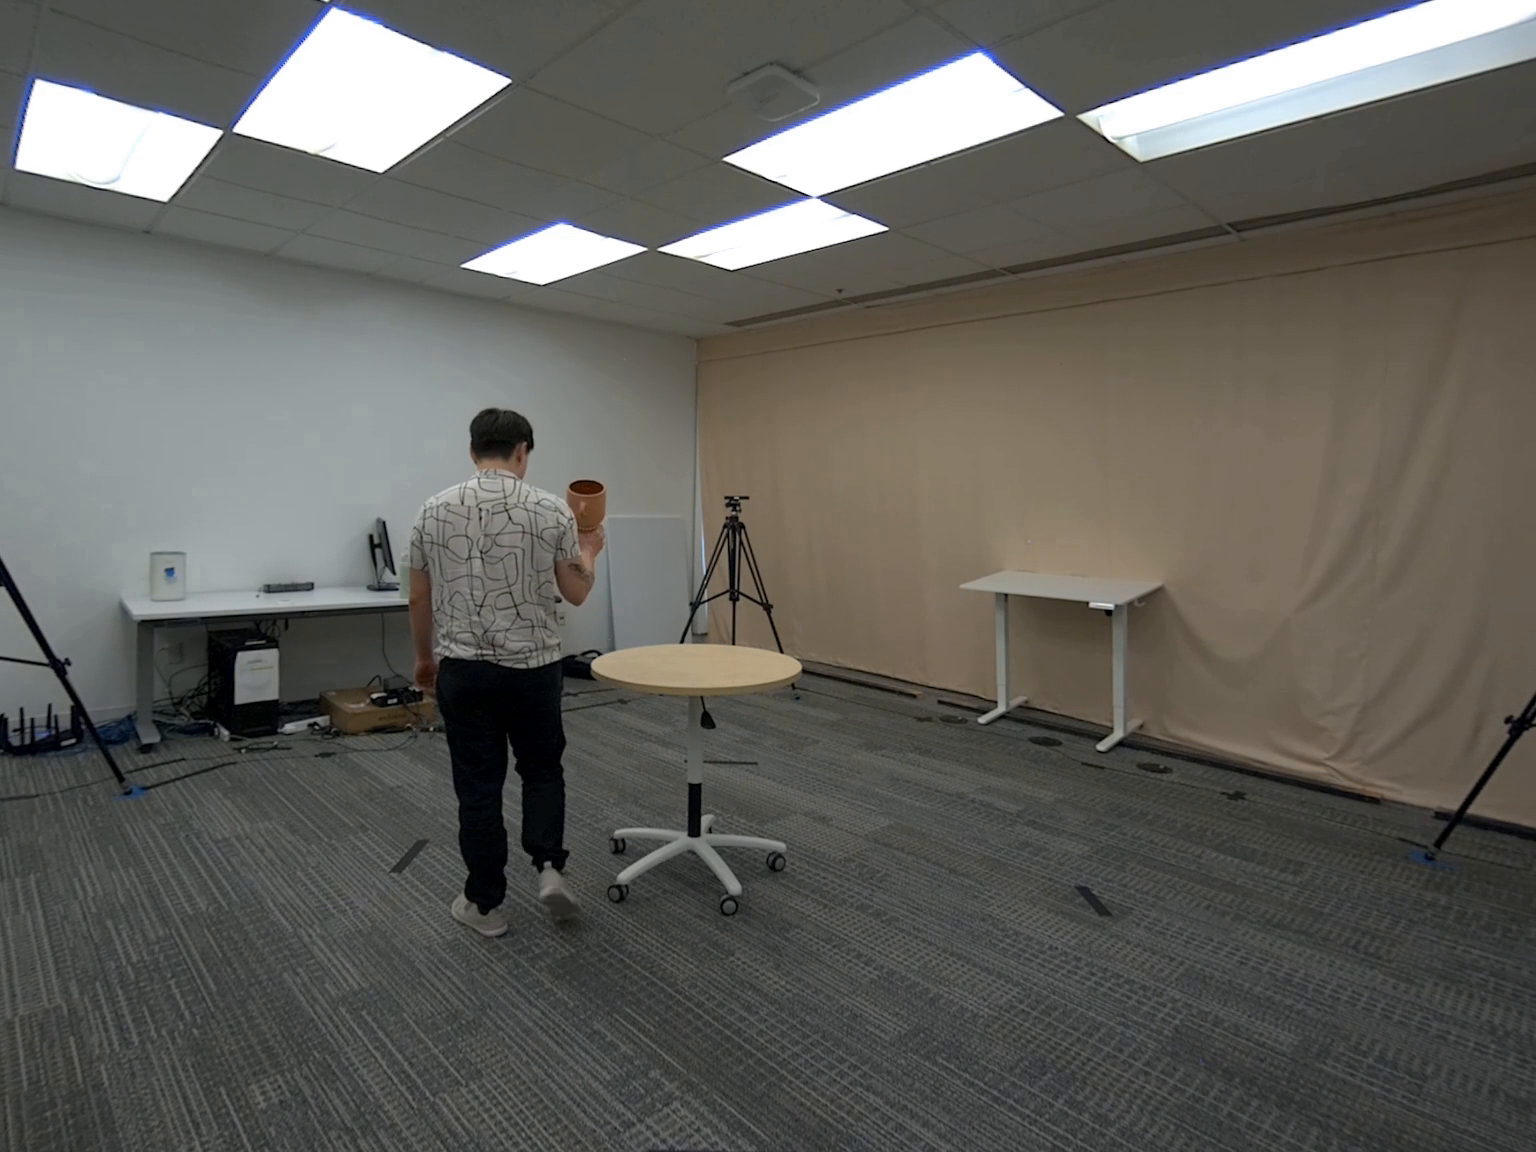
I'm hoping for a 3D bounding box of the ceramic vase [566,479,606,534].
[{"bbox_3d":[-0.639,-0.210,2.905,0.138,0.216,0.157,25,31,29],"label":"ceramic vase"}]
